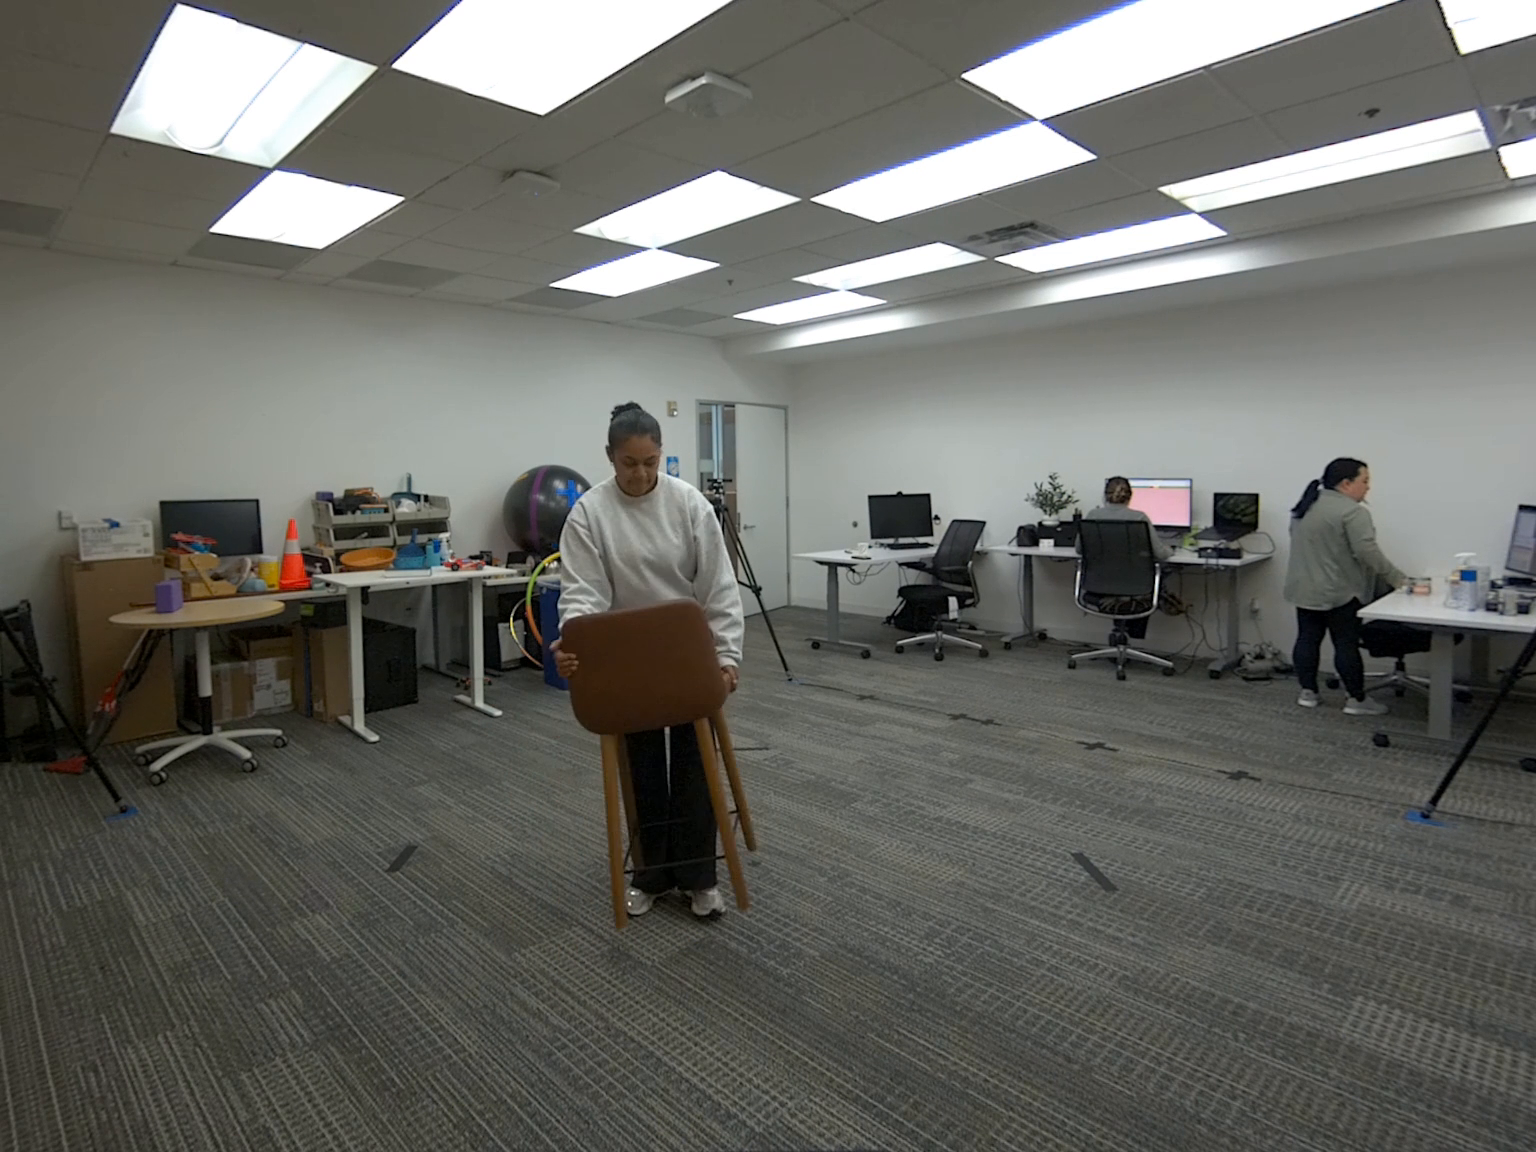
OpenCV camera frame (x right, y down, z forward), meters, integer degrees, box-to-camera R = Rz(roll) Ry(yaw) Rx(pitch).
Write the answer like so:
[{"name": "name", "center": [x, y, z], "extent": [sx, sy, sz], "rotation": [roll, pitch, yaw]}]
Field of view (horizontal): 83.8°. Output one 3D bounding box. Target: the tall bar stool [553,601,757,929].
[{"name": "tall bar stool", "center": [-0.310, 0.520, 2.562], "extent": [0.458, 0.888, 0.466], "rotation": [-11, 2, 5]}]
